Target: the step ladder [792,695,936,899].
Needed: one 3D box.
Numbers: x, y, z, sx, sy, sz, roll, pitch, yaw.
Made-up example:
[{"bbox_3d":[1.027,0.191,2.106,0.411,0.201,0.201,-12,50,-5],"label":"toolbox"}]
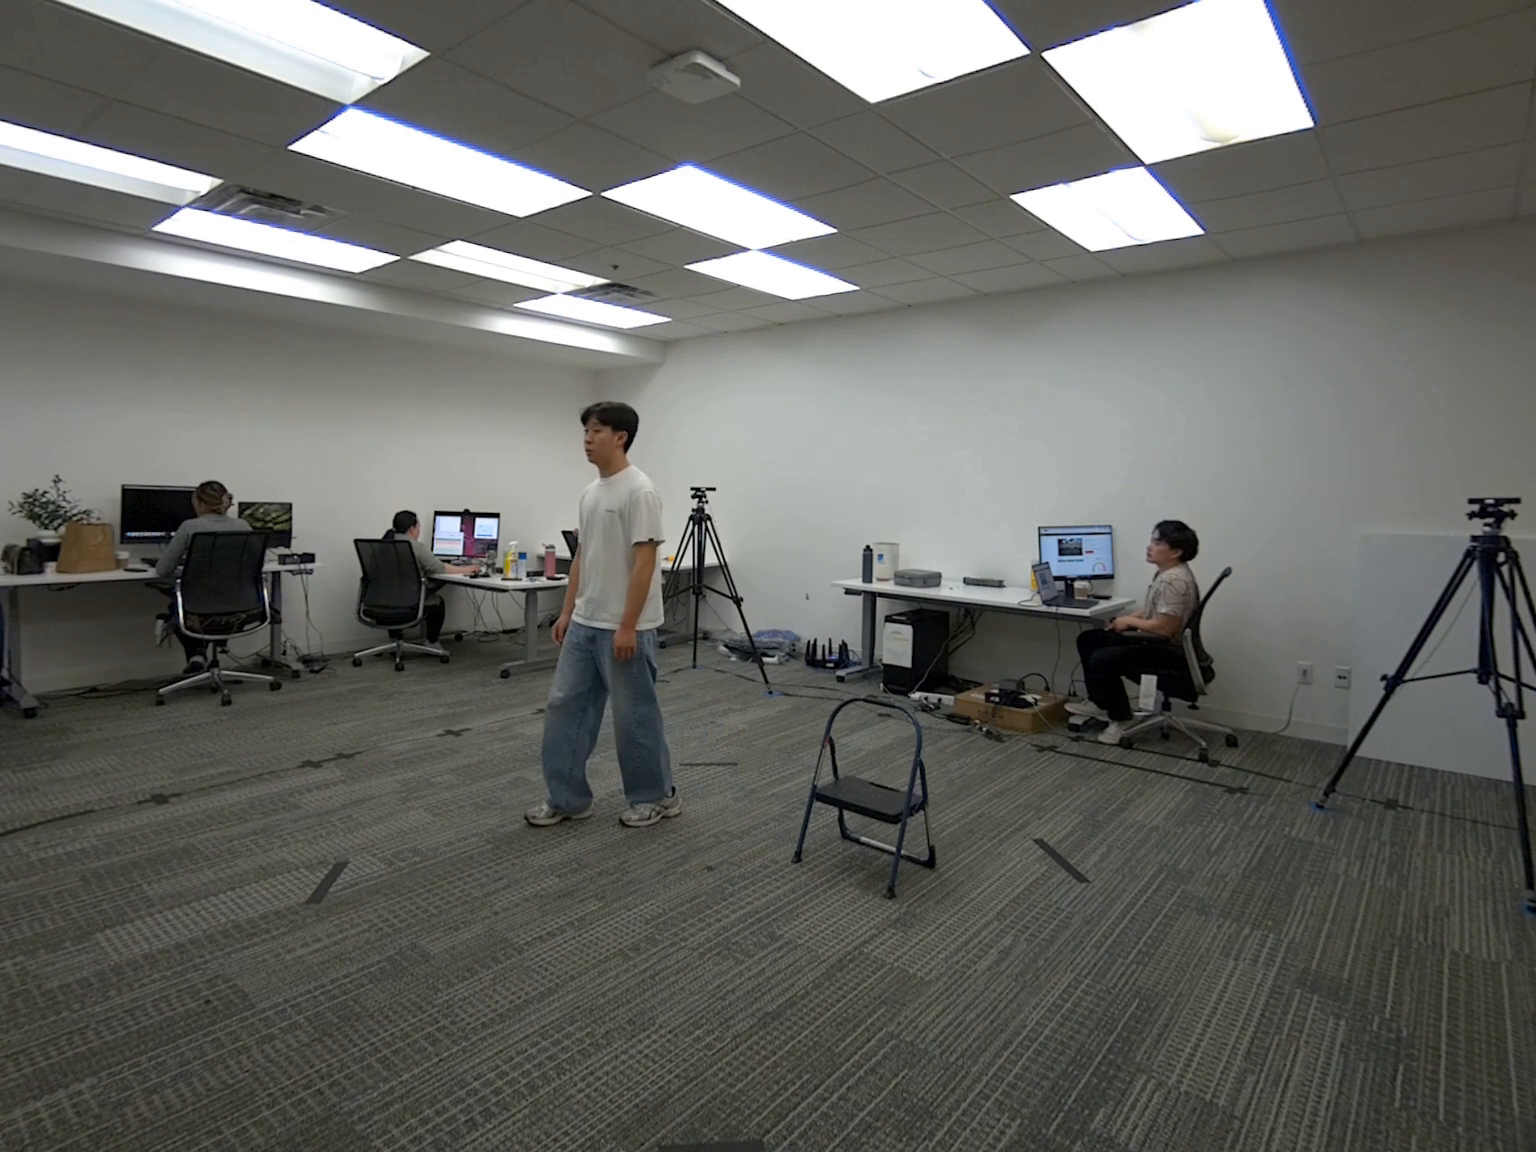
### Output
[{"bbox_3d":[0.359,0.768,3.156,0.445,0.604,0.339,5,5,39],"label":"step ladder"}]
